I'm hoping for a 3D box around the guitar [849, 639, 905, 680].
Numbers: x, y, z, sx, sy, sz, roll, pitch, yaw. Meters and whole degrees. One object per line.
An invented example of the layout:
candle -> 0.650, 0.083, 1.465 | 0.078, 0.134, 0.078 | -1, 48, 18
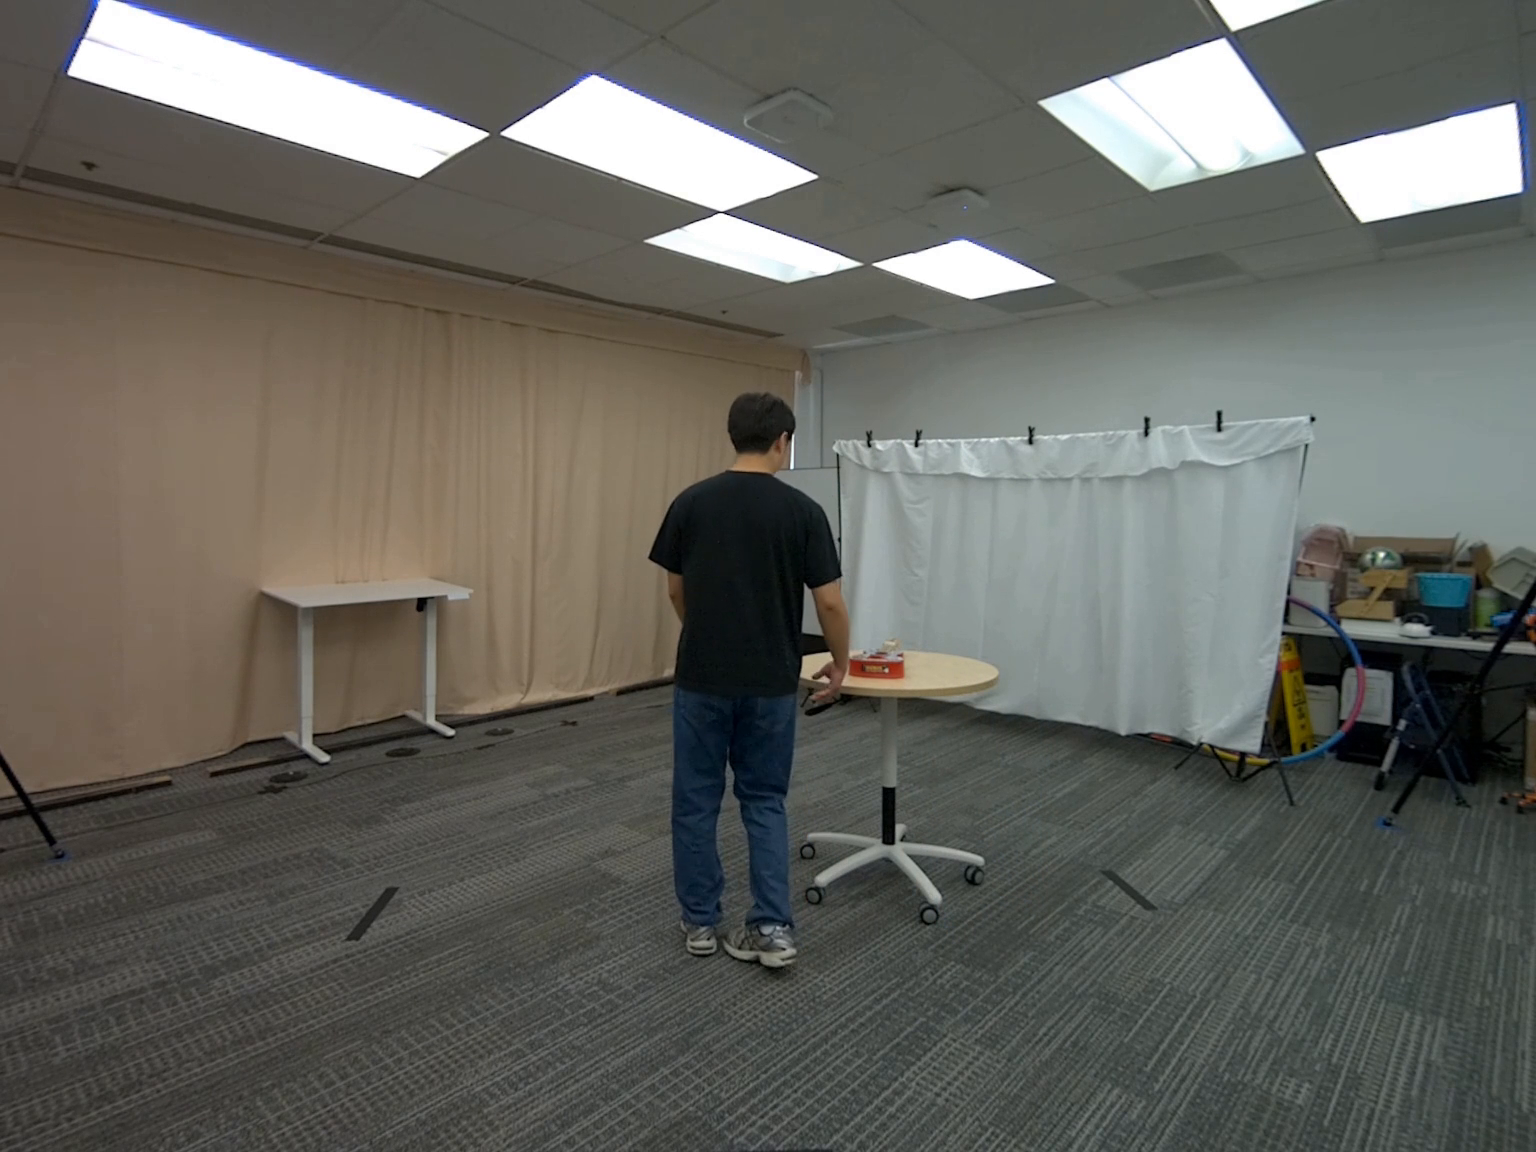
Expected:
guitar -> 0.472, 0.303, 3.115 | 0.198, 0.070, 0.485 | 2, 5, 27
